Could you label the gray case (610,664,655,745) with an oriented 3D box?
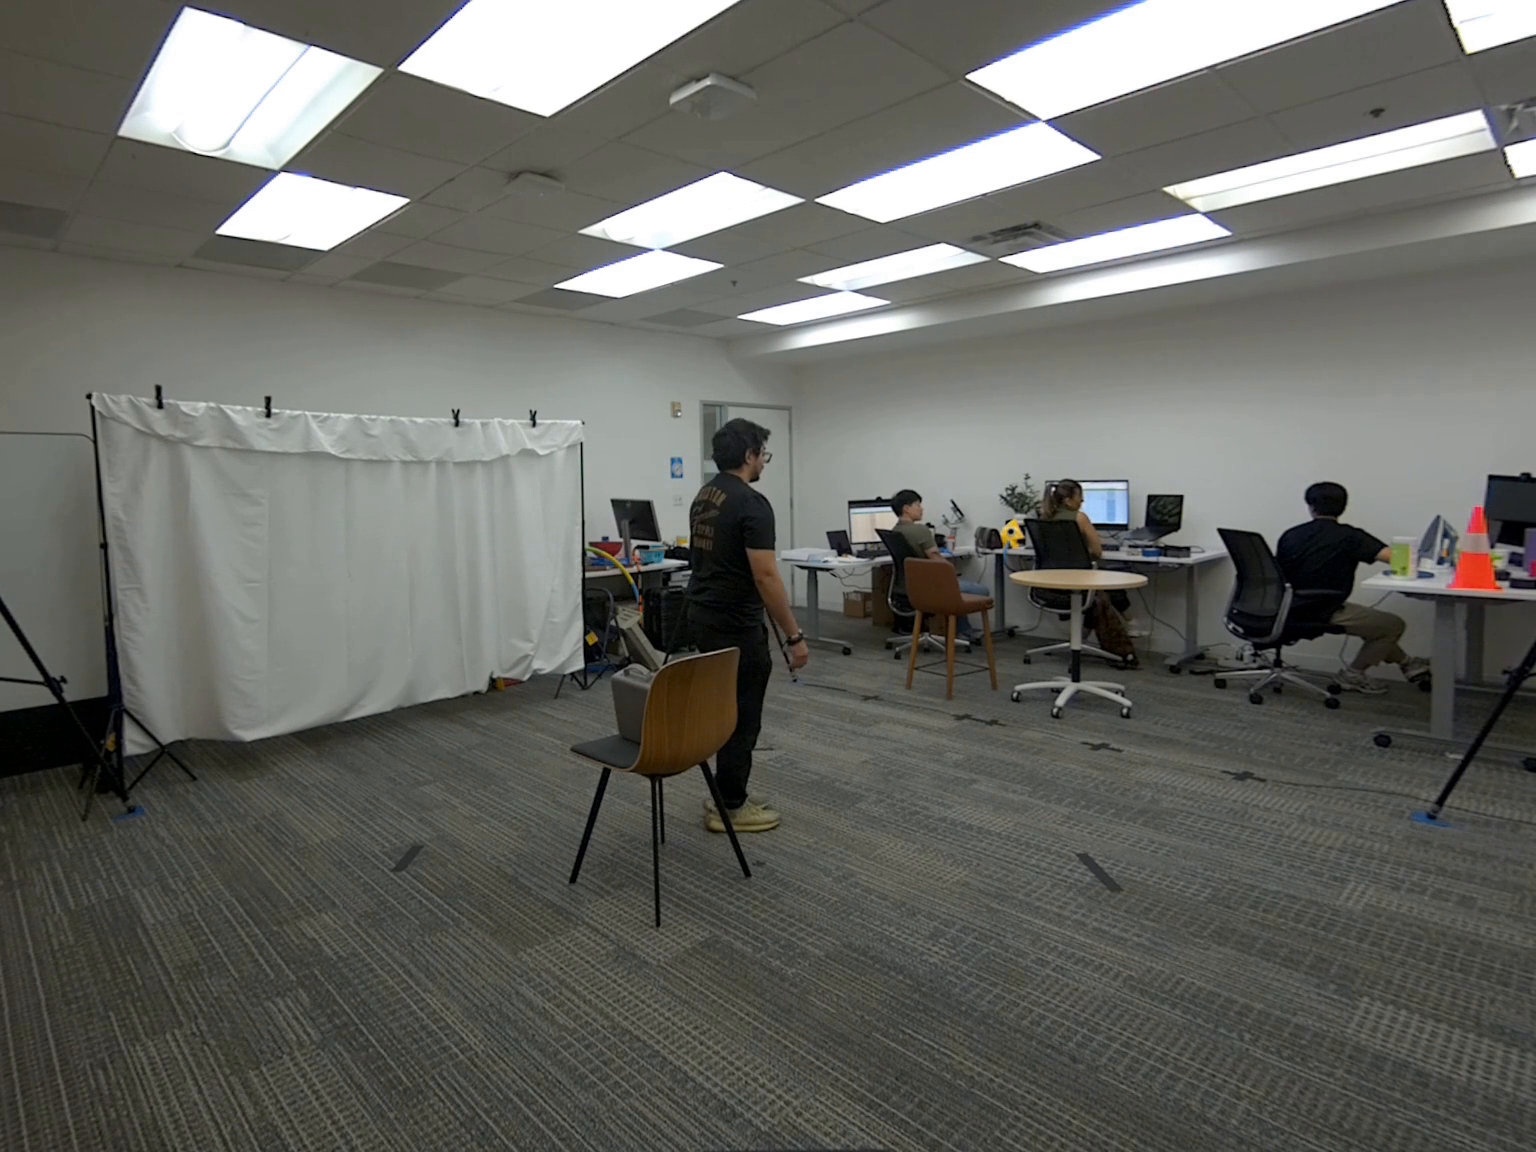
[{"bbox_3d":[-0.424,0.460,3.001,0.265,0.257,0.102,8,20,41],"label":"gray case"}]
